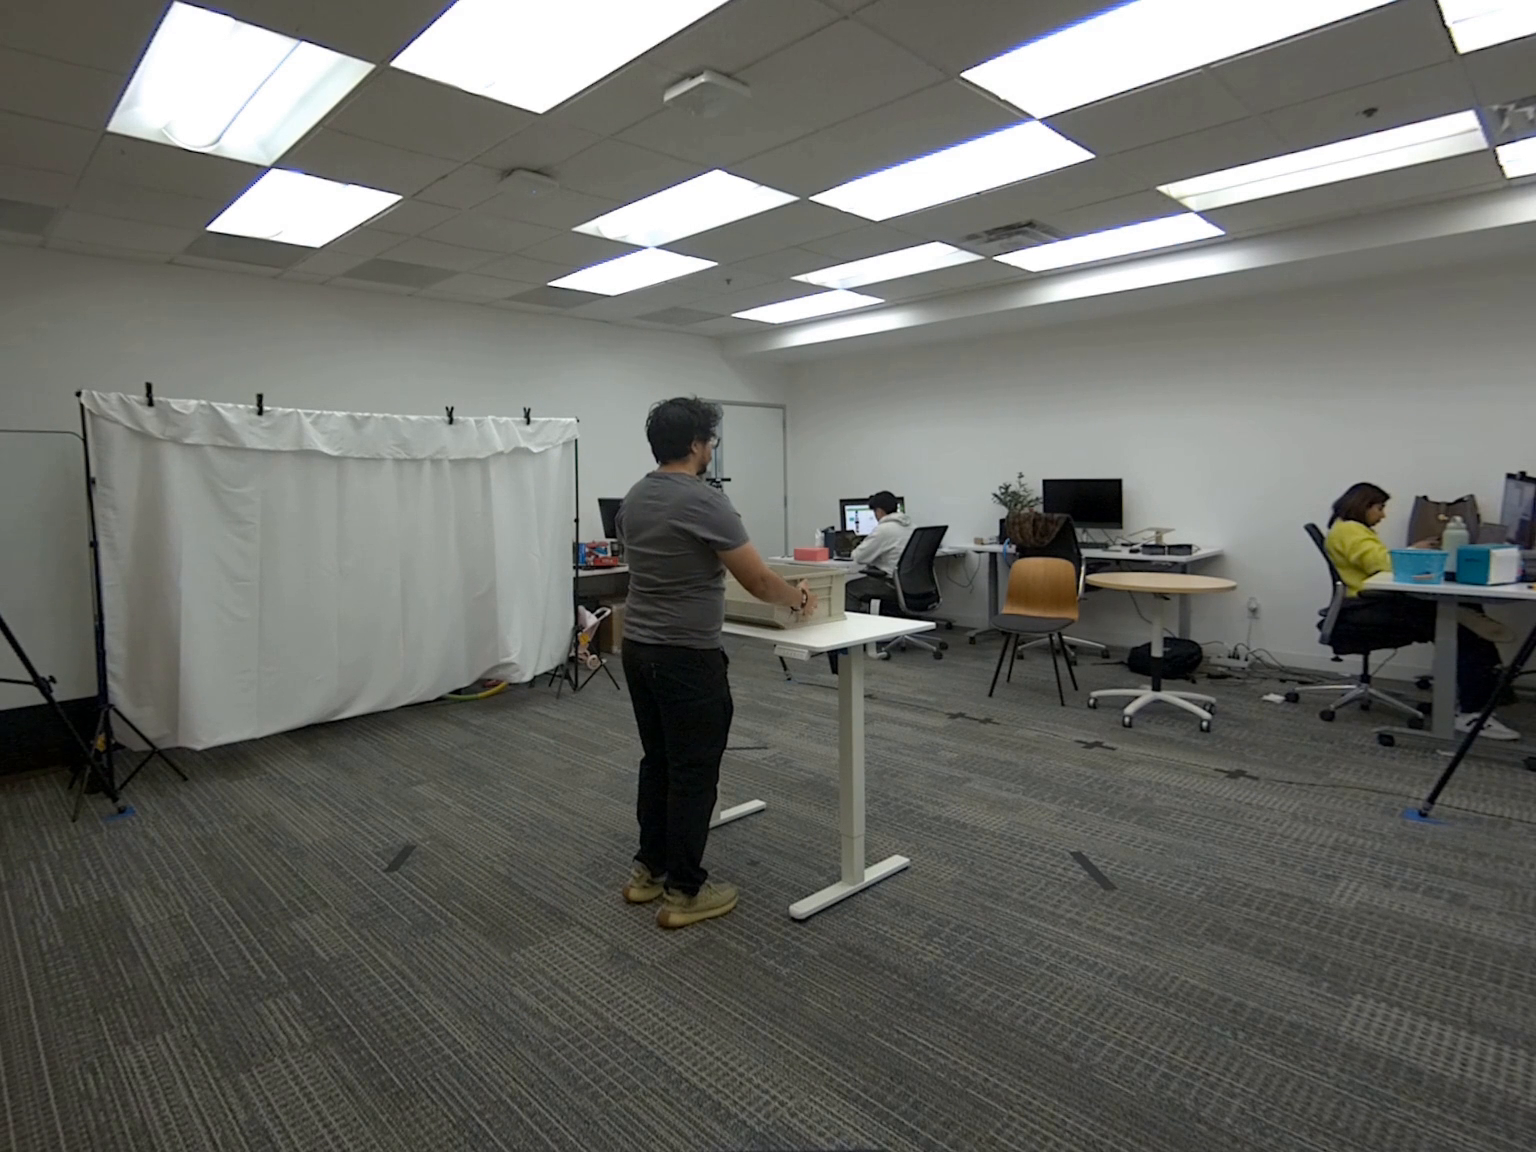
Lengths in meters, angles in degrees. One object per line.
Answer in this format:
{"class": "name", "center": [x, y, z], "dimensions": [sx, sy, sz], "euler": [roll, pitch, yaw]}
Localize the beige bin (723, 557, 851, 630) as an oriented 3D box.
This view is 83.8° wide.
{"class": "beige bin", "center": [0.021, 0.073, 3.107], "dimensions": [0.367, 0.188, 0.435], "euler": [-4, 5, -39]}
